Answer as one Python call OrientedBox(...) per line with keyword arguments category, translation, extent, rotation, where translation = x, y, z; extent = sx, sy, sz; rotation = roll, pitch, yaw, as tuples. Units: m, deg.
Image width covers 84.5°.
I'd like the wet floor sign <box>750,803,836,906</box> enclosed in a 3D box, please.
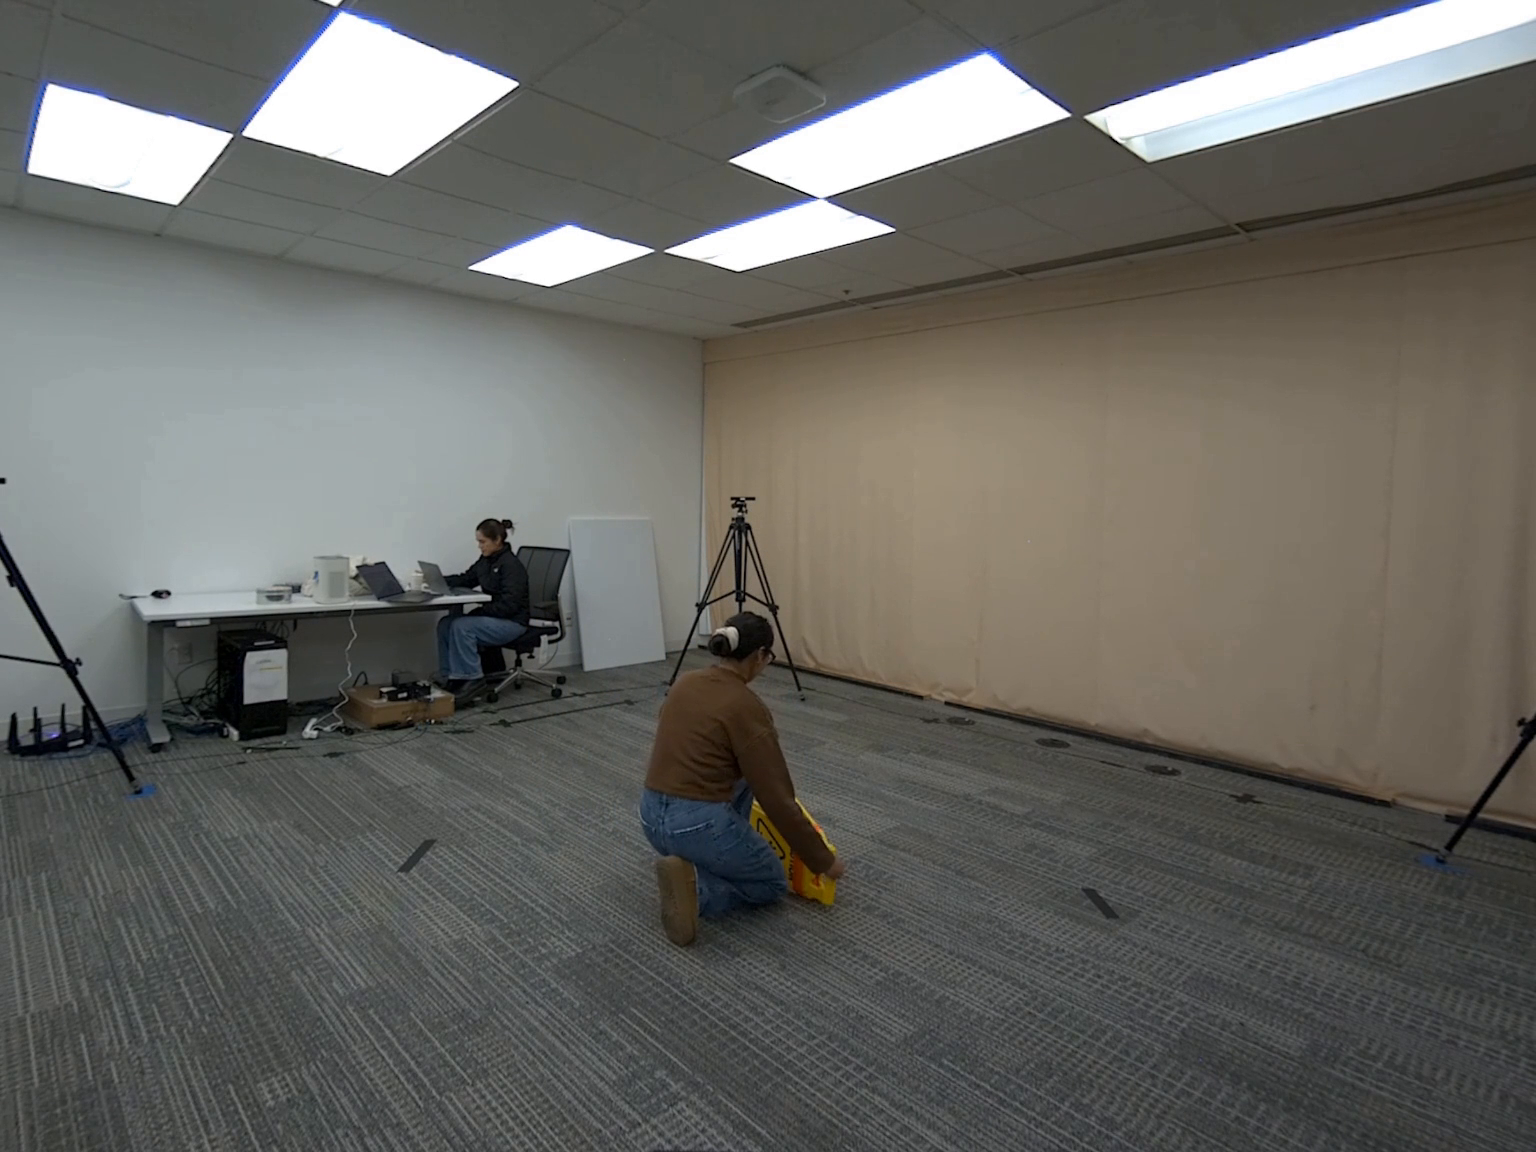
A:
OrientedBox(category="wet floor sign", translation=(0.052, 0.977, 3.121), extent=(0.284, 0.281, 0.661), rotation=(-1, 6, -29))
